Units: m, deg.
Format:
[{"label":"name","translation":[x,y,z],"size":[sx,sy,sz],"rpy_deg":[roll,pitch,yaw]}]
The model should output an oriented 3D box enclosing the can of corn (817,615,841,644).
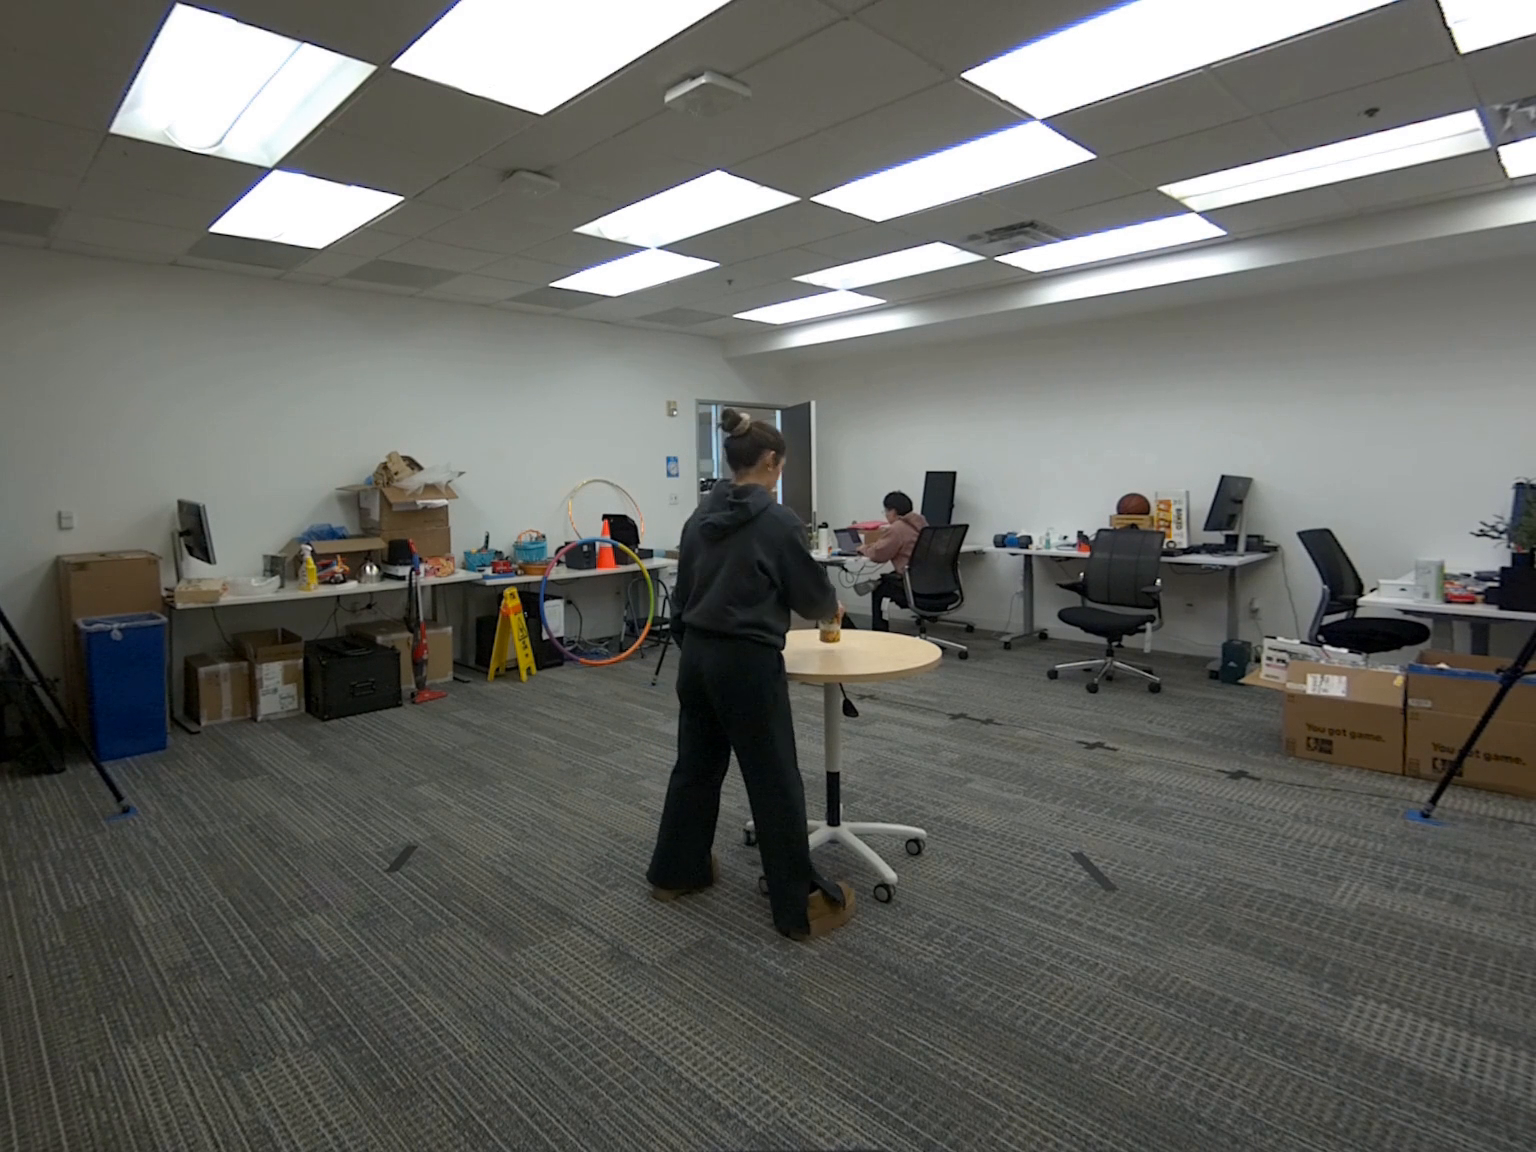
[{"label":"can of corn","translation":[0.212,0.175,2.998],"size":[0.074,0.110,0.075],"rpy_deg":[-4,8,-1]}]
